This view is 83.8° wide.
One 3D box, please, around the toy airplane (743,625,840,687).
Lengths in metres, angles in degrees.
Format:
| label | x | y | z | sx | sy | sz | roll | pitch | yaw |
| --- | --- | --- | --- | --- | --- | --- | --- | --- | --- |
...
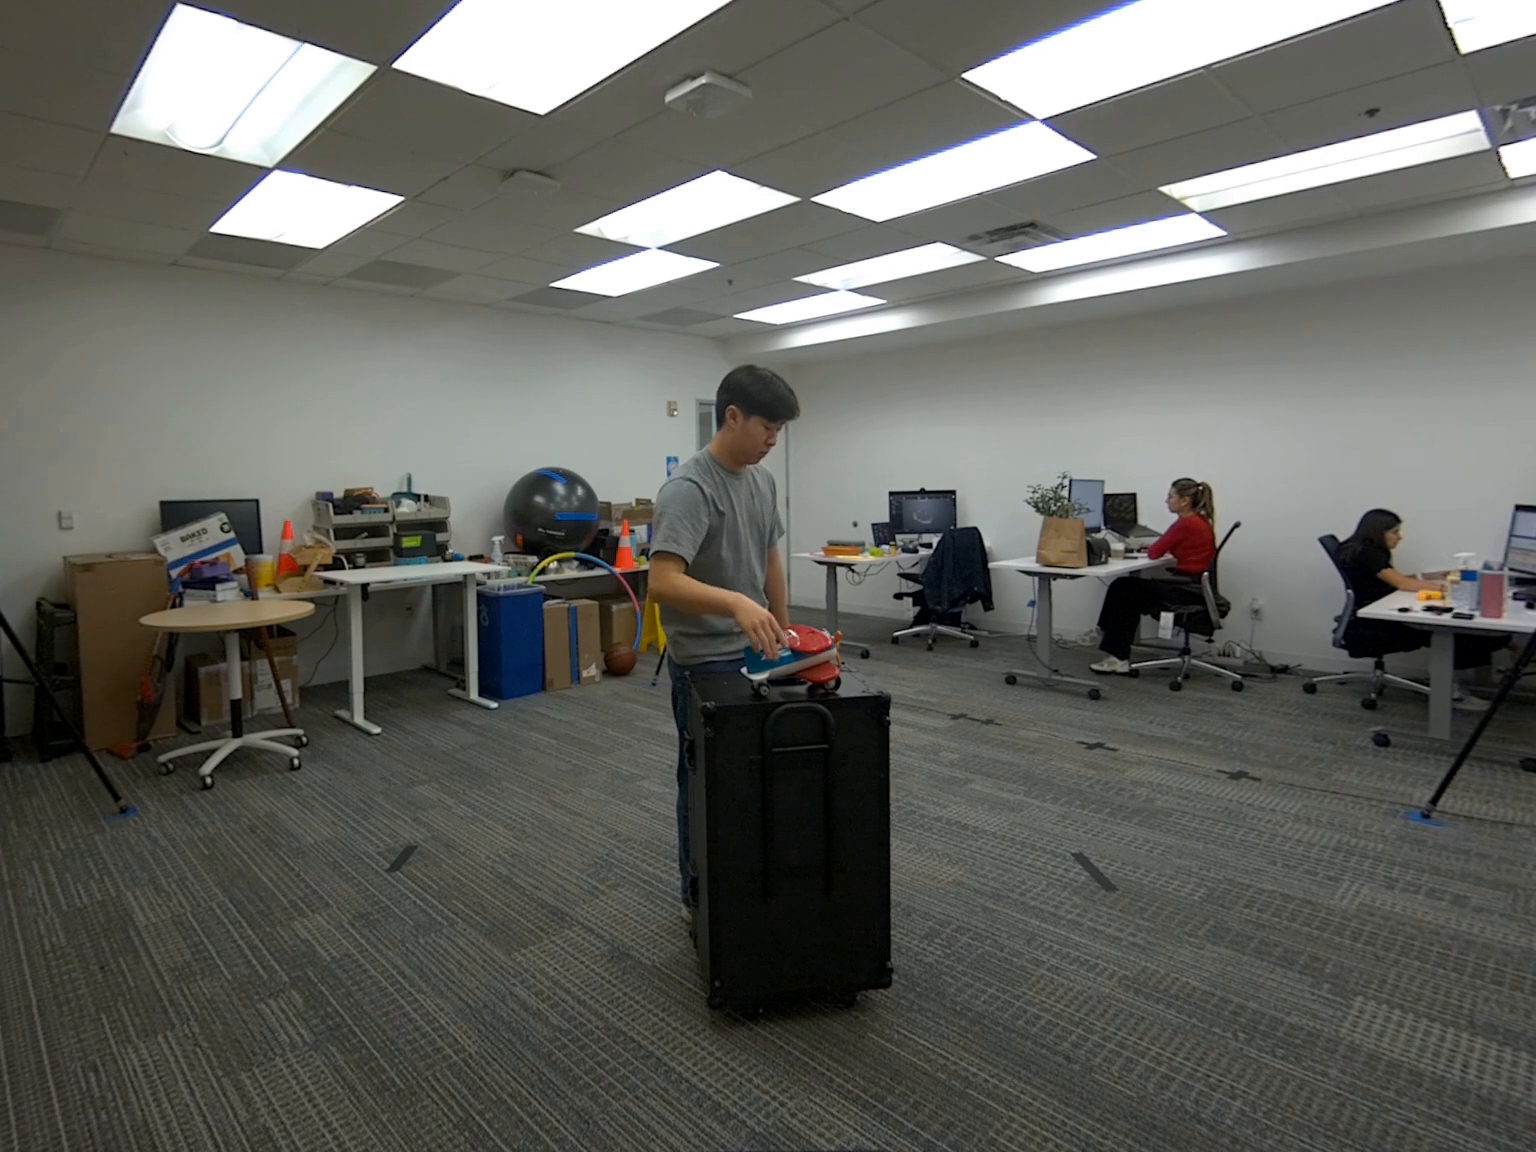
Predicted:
| label | x | y | z | sx | sy | sz | roll | pitch | yaw |
| --- | --- | --- | --- | --- | --- | --- | --- | --- | --- |
| toy airplane | 0.077 | 0.228 | 2.192 | 0.259 | 0.156 | 0.252 | 4 | 8 | 42 |
